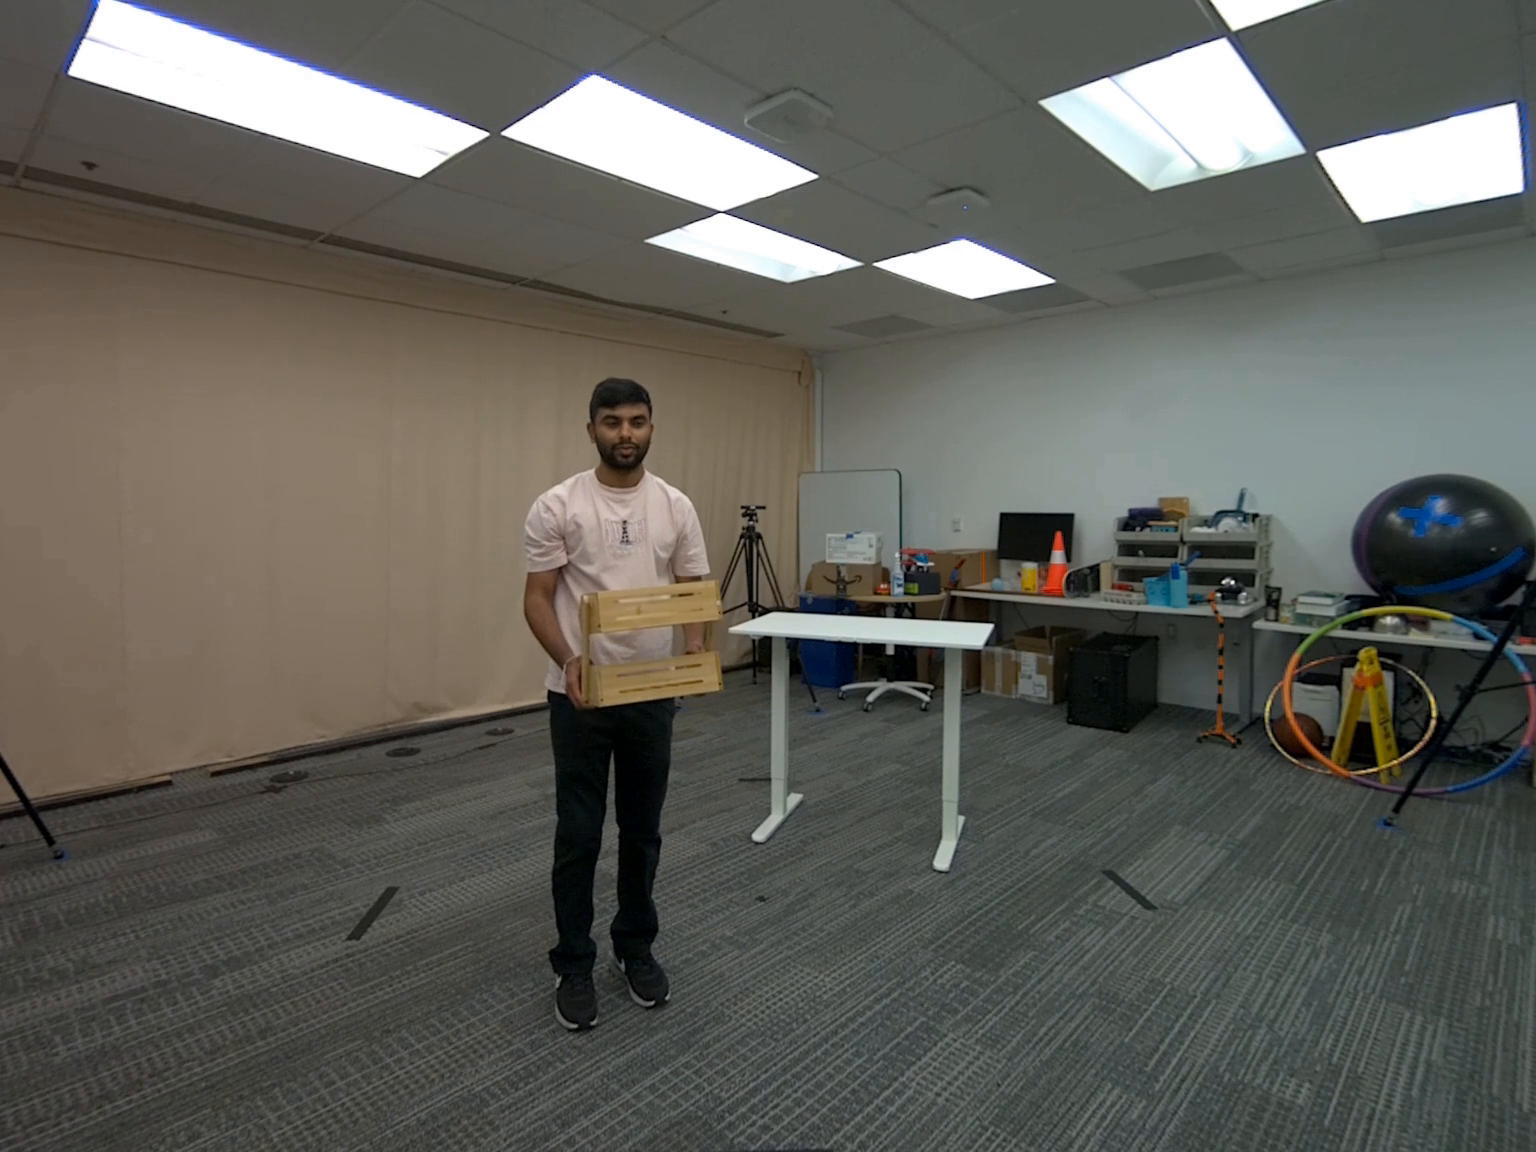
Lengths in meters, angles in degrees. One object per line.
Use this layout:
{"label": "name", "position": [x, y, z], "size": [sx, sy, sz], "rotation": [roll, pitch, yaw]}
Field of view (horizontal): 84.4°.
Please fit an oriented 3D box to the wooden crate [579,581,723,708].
{"label": "wooden crate", "position": [-0.310, 0.156, 2.055], "size": [0.317, 0.274, 0.308], "rotation": [-3, -2, -23]}
